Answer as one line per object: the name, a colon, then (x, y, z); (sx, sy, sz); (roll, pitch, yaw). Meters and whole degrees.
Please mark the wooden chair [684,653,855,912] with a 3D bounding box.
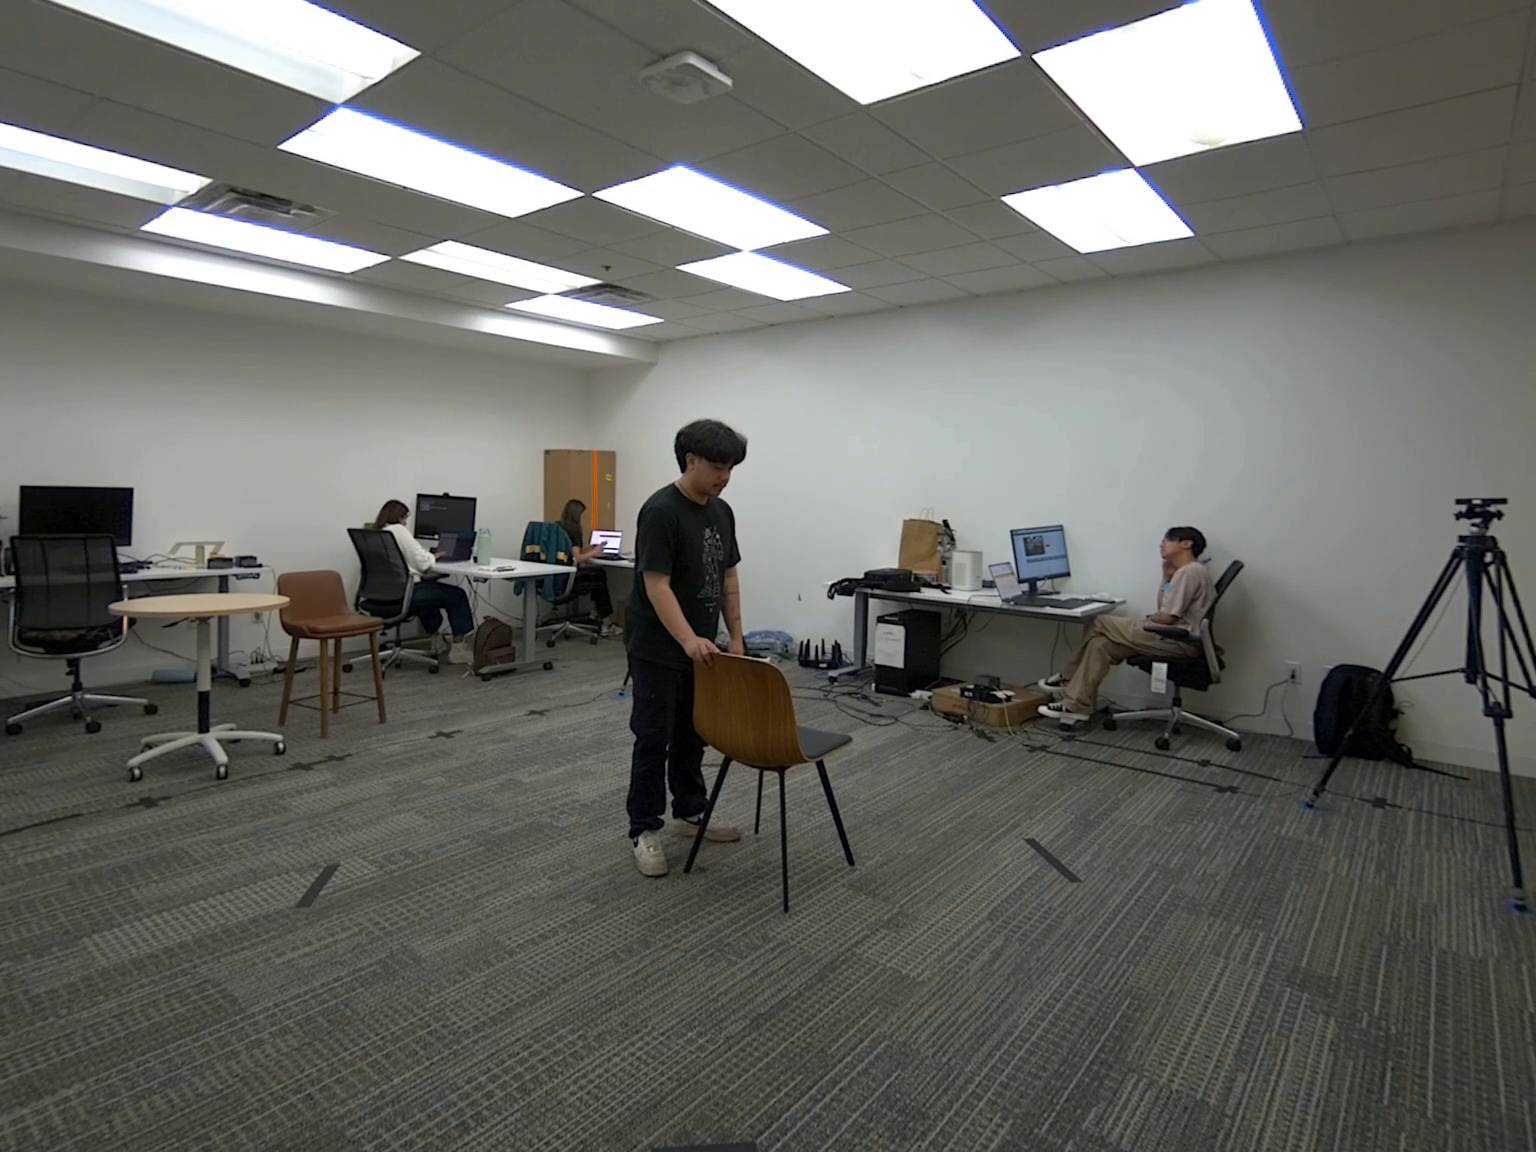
wooden chair: (0.010, 0.644, 3.079); (0.493, 0.871, 0.510); (3, 9, 37)
